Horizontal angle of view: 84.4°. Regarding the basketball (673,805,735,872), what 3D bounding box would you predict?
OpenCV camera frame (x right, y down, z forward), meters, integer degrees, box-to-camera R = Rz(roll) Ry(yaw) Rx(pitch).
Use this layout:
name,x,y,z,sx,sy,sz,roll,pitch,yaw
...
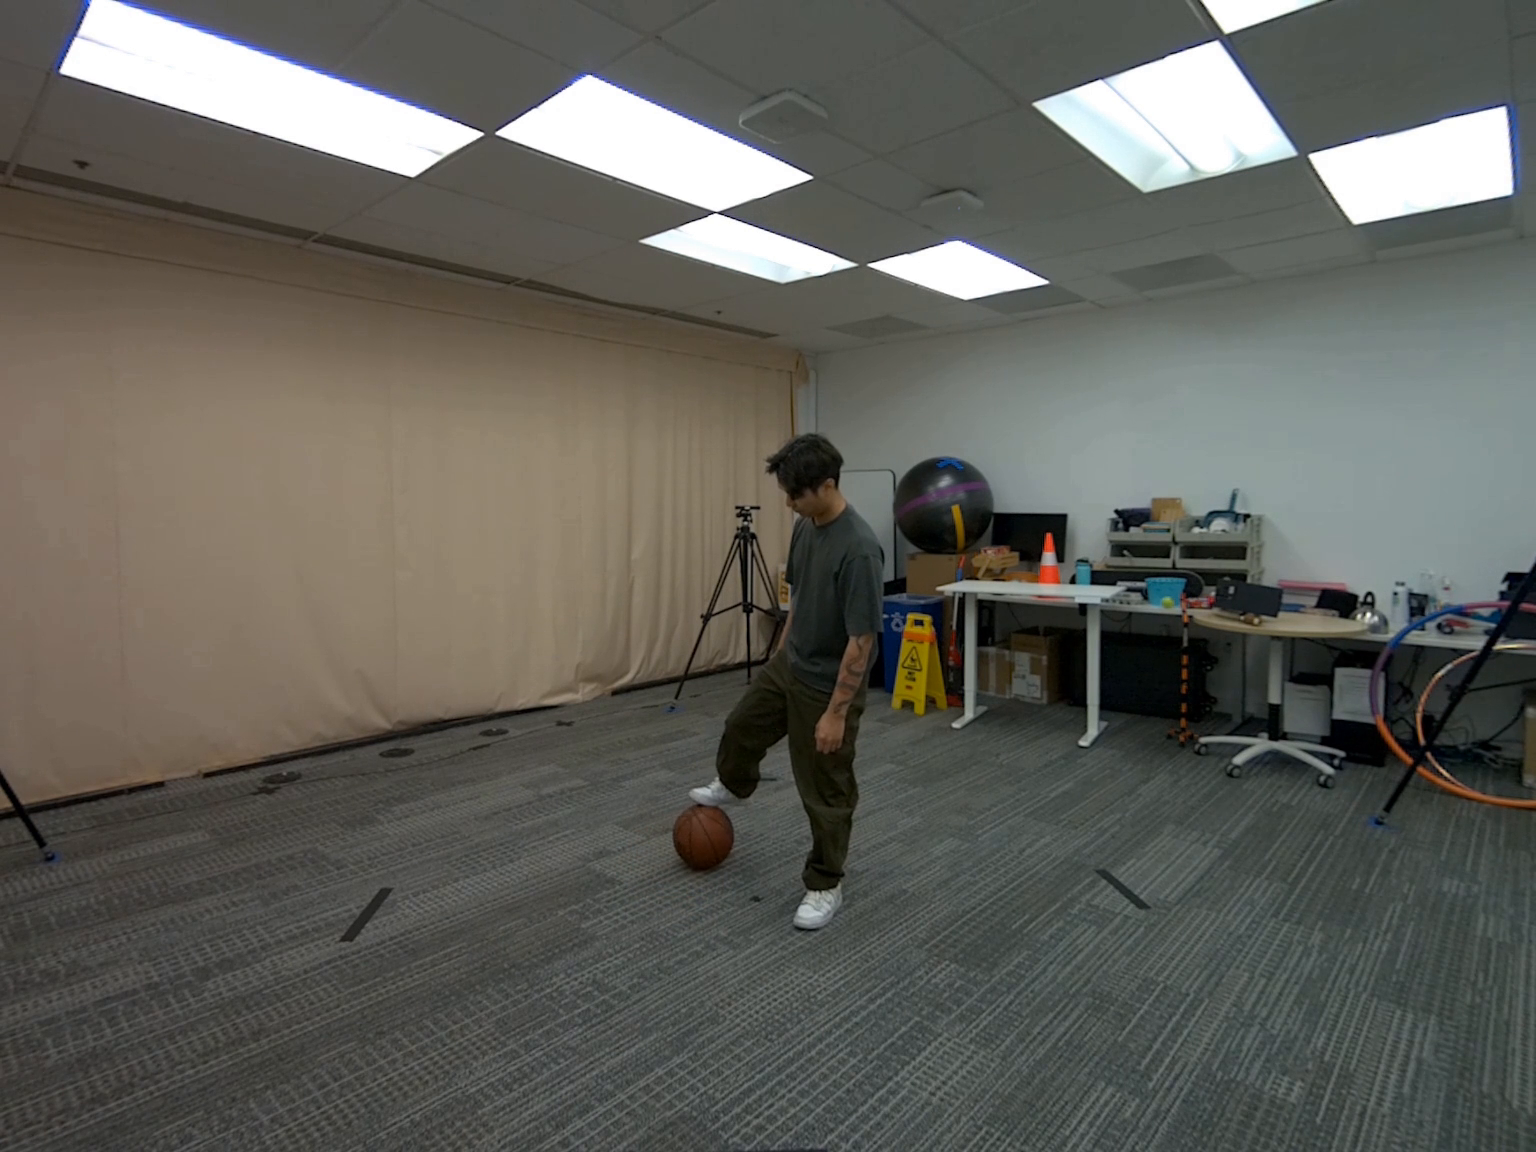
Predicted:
name,x,y,z,sx,sy,sz,roll,pitch,yaw
basketball,-0.251,1.002,3.255,0.236,0.235,0.237,0,4,-2
